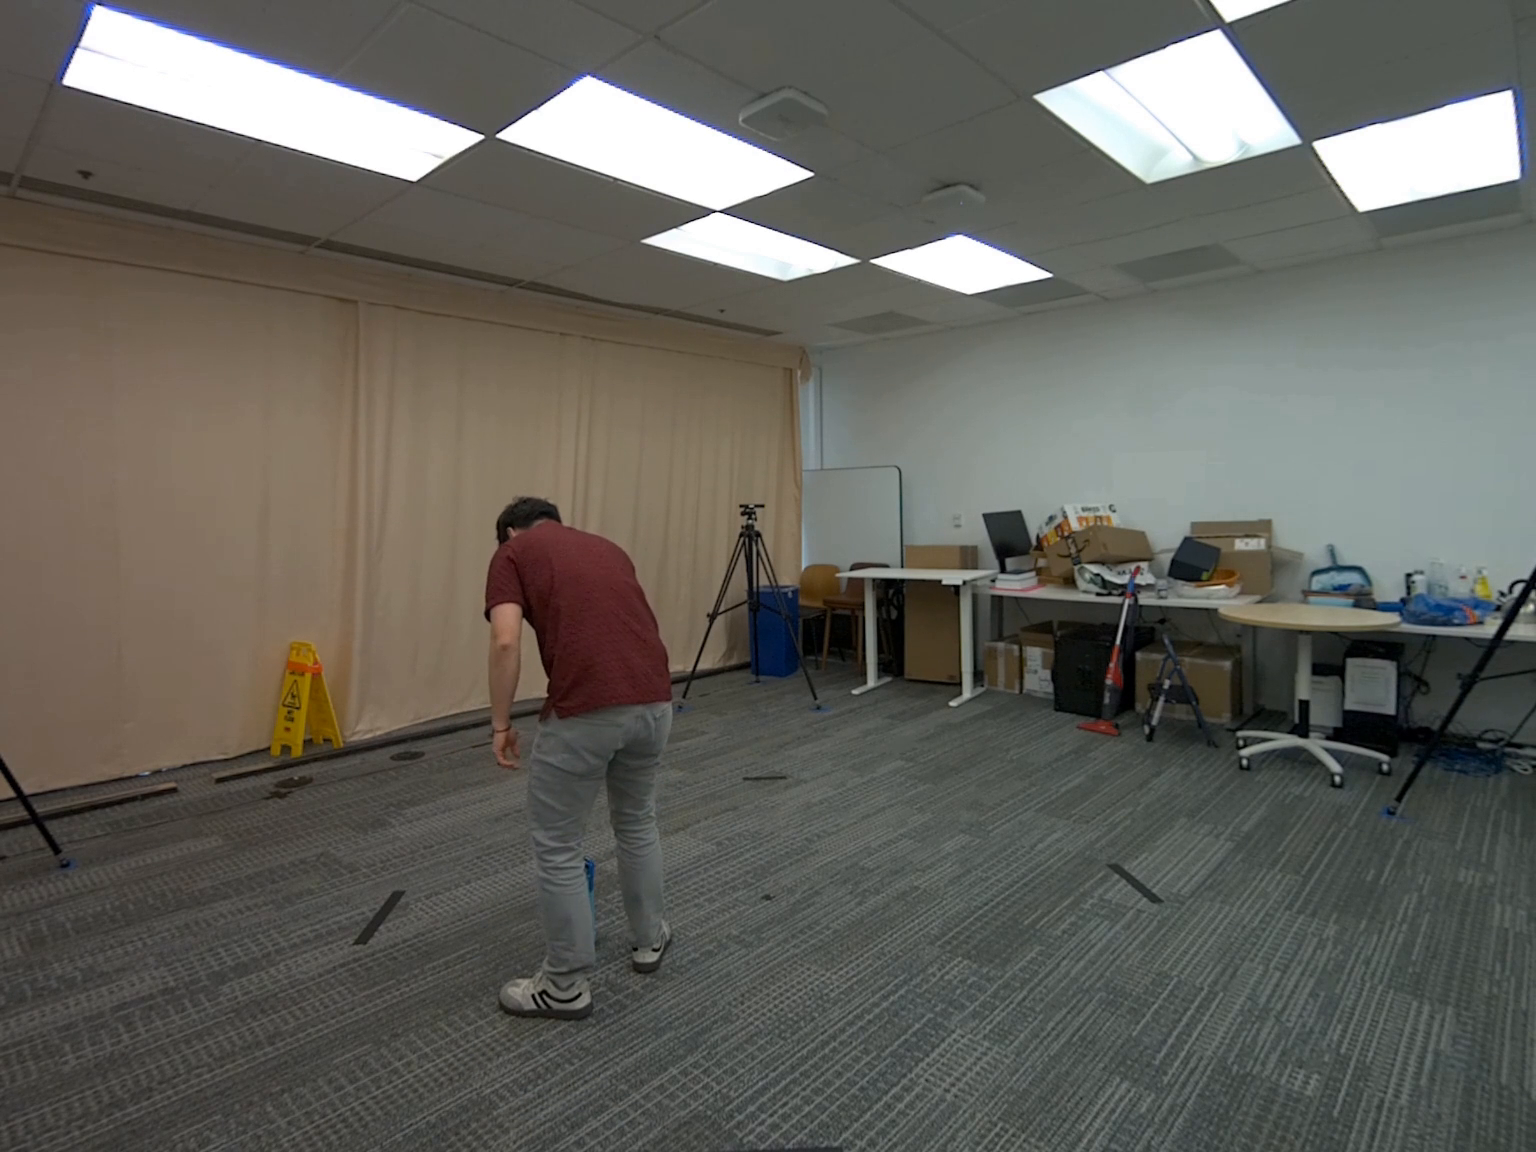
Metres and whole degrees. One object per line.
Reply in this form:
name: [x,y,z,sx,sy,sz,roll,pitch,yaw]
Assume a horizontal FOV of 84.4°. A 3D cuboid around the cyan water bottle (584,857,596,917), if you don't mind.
cyan water bottle: [-0.597,1.041,2.690,0.092,0.283,0.092,-3,3,-2]
